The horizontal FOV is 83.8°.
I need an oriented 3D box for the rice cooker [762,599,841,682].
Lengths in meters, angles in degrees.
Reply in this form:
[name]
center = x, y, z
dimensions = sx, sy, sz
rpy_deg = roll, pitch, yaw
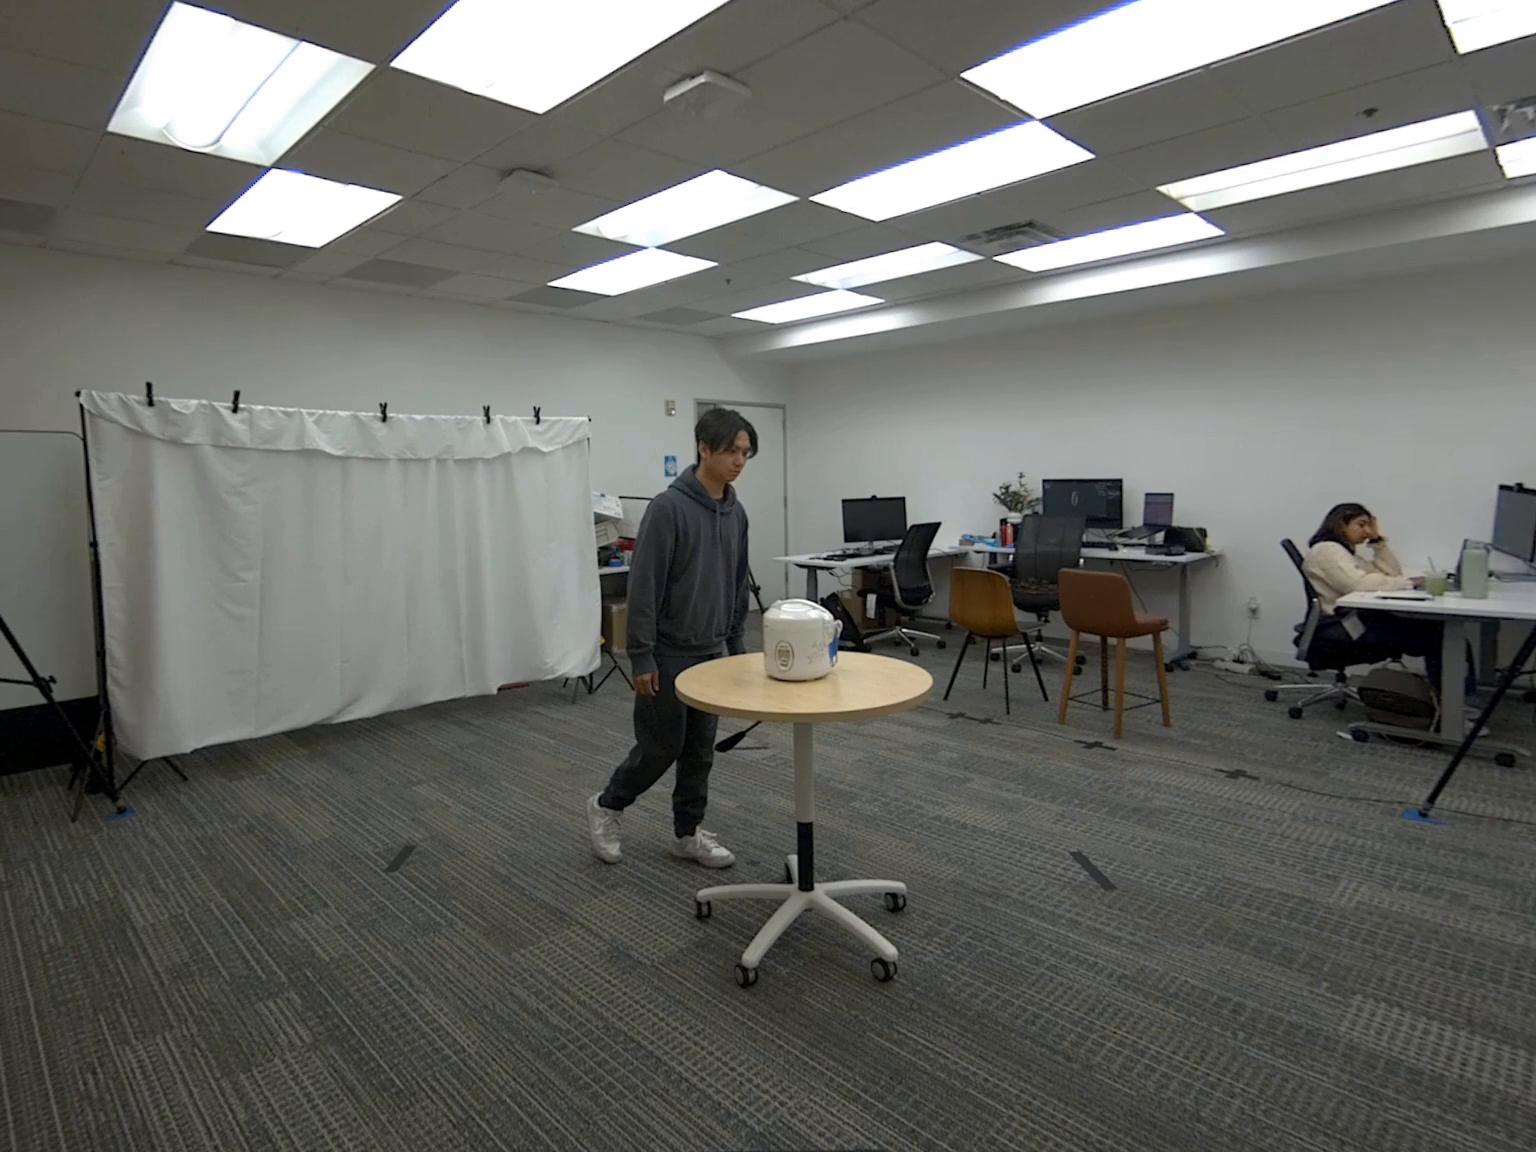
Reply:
[rice cooker]
center = 0.094, 0.187, 2.587
dimensions = 0.226, 0.232, 0.213
rpy_deg = 0, 4, 26
